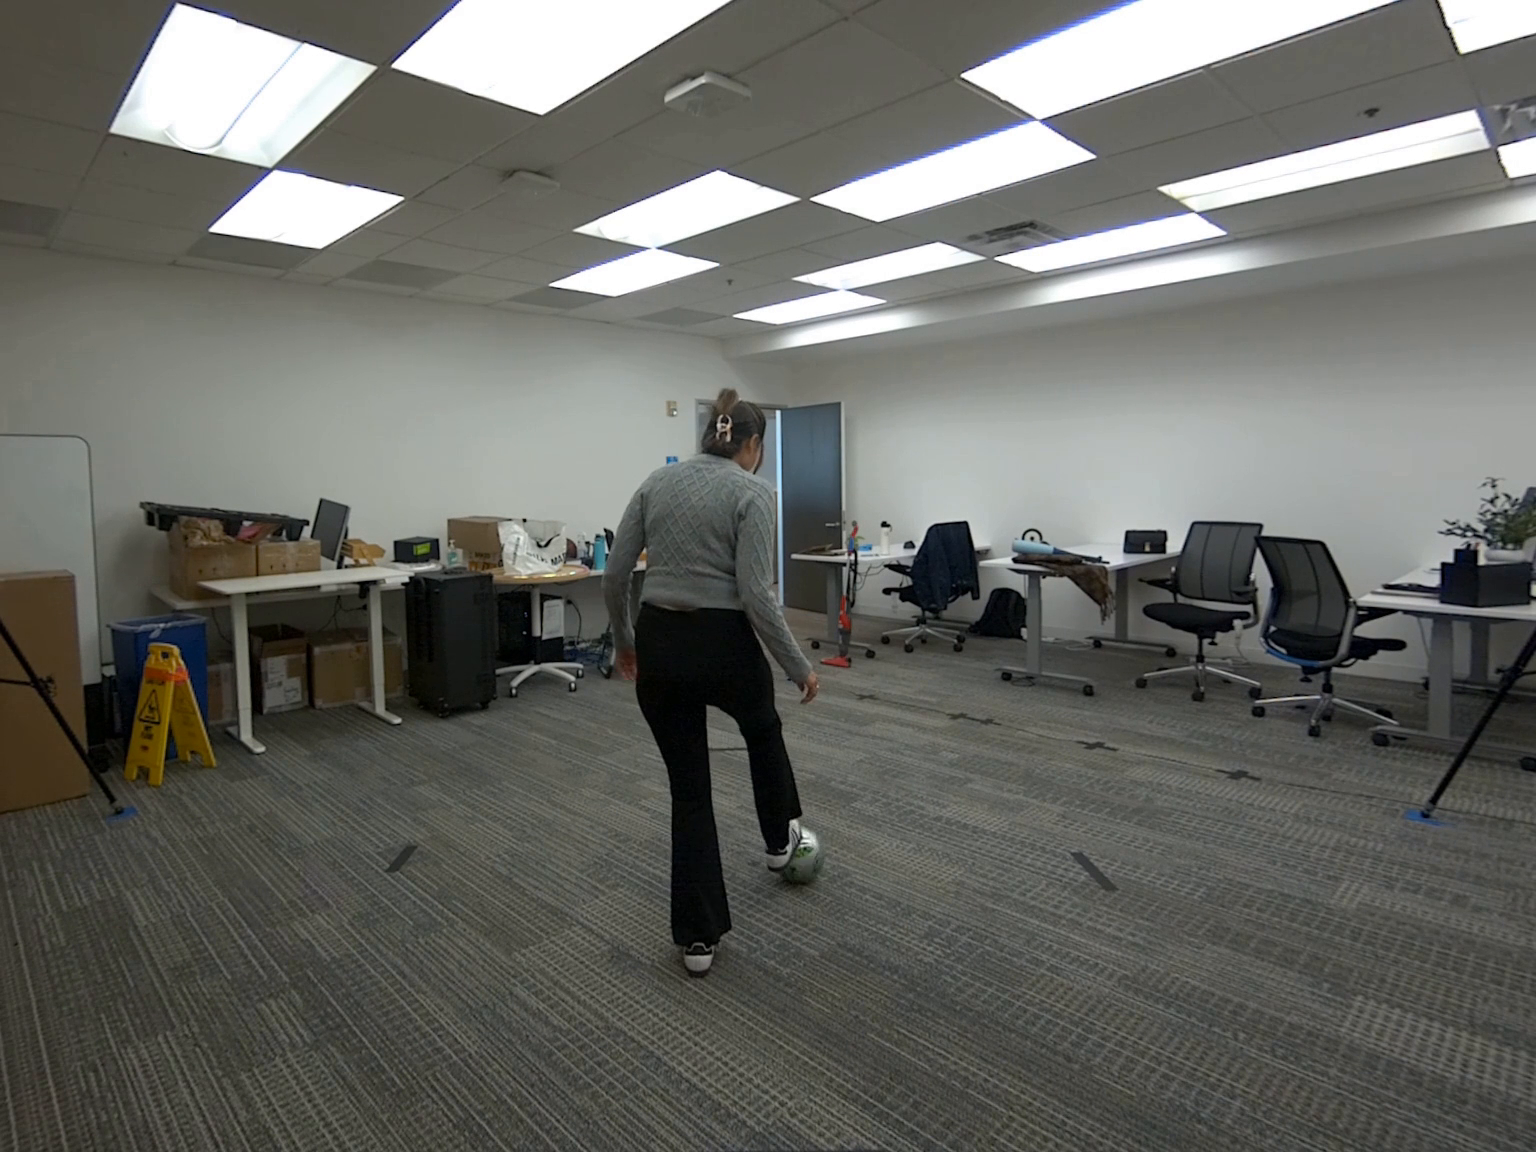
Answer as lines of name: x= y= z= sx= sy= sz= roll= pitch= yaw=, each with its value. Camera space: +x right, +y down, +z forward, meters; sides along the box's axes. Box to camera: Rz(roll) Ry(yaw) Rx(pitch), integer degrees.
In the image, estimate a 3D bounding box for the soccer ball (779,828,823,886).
soccer ball: x=0.104 y=0.966 z=2.962 sx=0.187 sy=0.187 sz=0.188 roll=-1 pitch=5 yaw=-2
